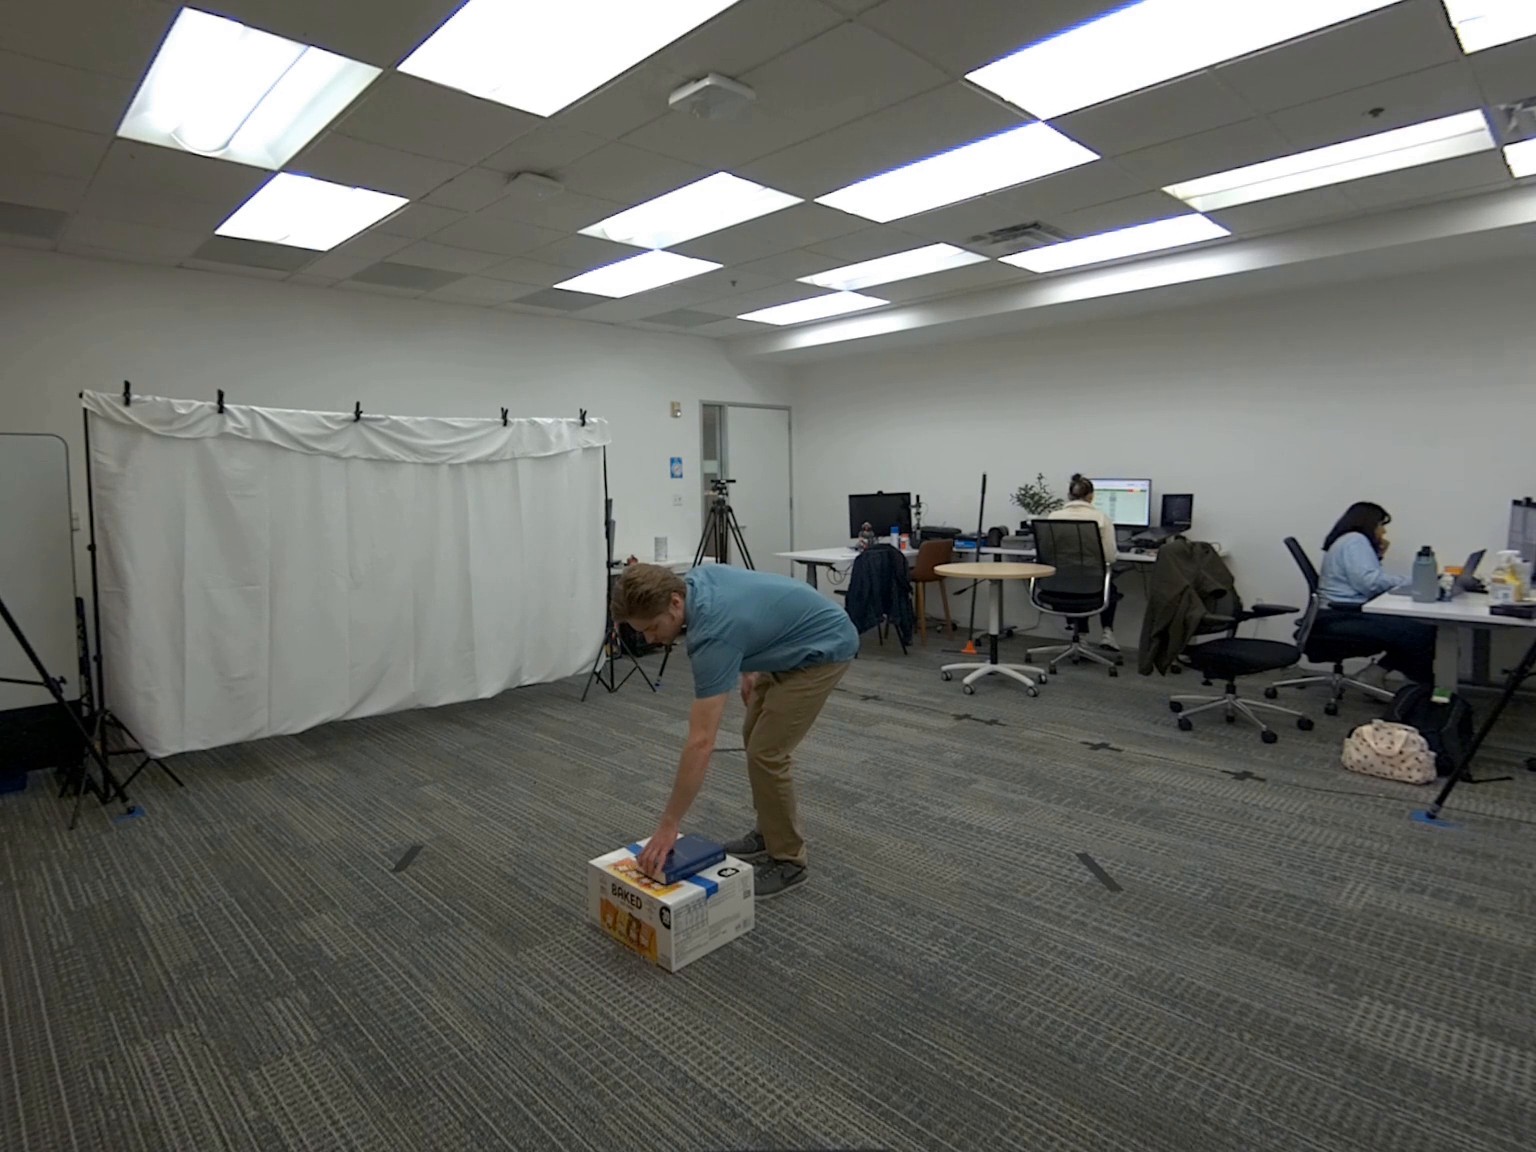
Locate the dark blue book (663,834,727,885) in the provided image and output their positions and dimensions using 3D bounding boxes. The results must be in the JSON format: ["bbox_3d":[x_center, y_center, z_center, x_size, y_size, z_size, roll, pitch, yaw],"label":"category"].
[{"bbox_3d":[-0.268,0.884,2.679,0.239,0.045,0.168,-10,11,-42],"label":"dark blue book"}]
